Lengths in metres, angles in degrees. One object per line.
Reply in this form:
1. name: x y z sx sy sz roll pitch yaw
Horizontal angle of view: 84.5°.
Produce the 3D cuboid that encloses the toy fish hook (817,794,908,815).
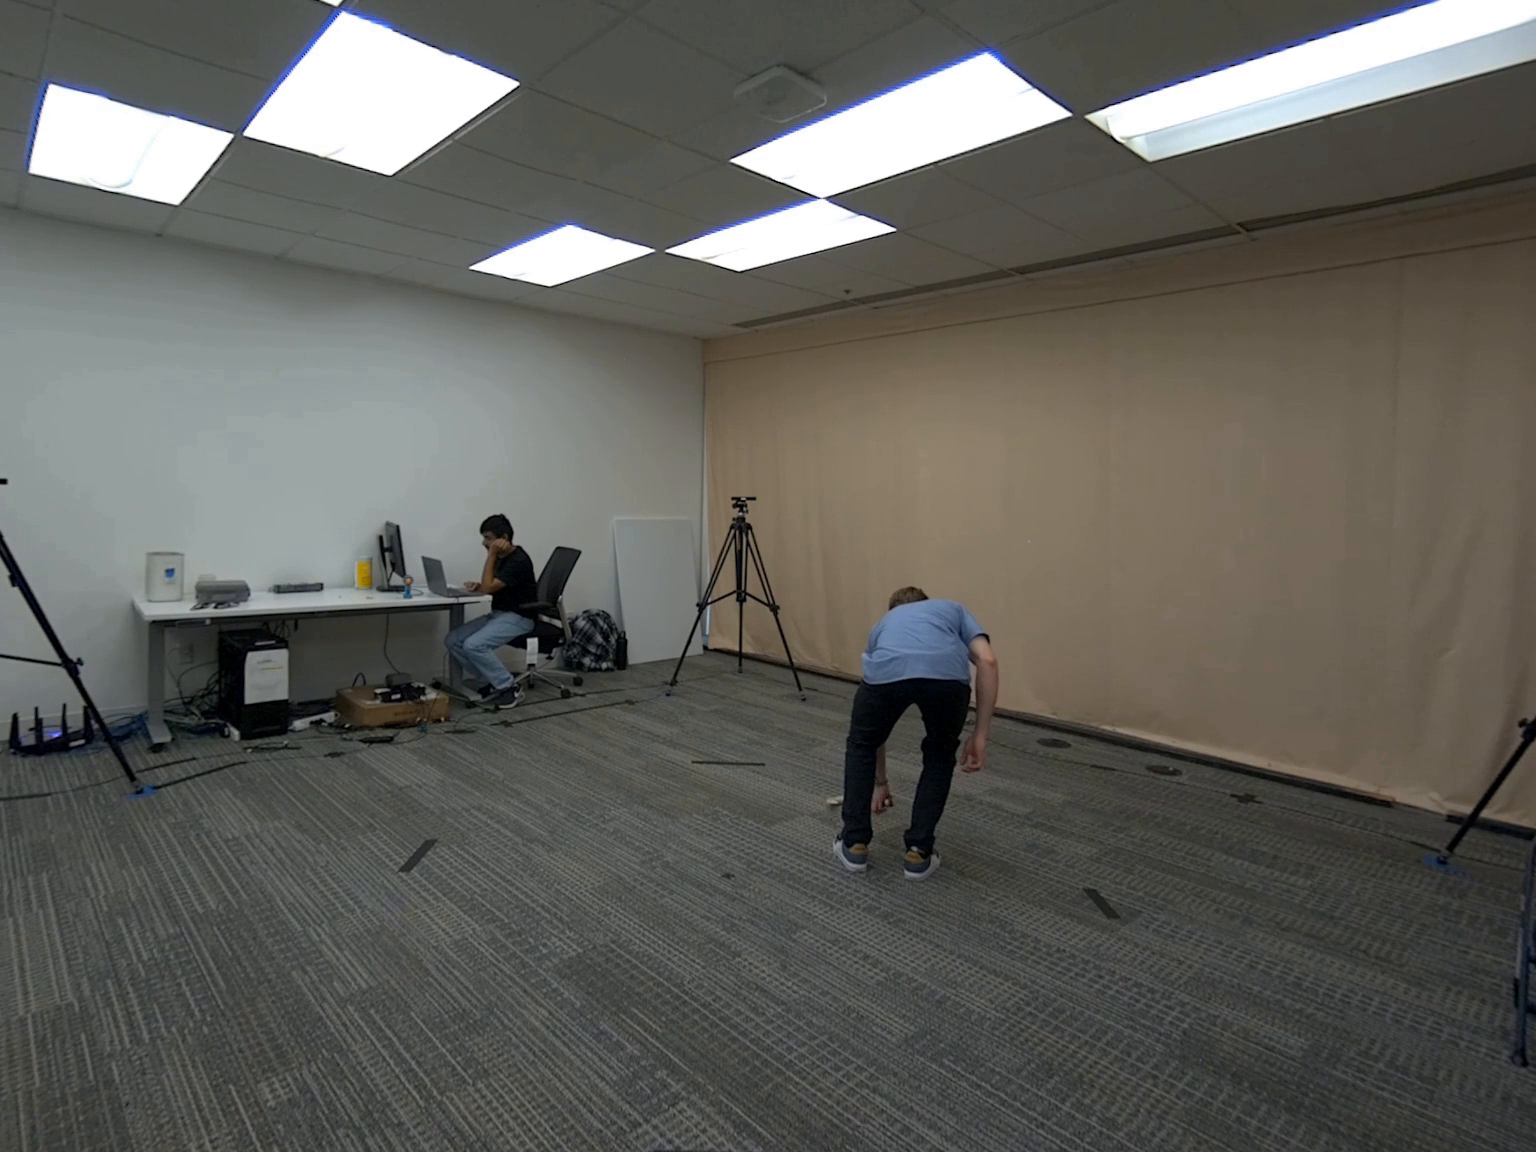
1. toy fish hook: 0.397 0.993 3.685 0.222 0.049 0.506 -5 -11 -15
